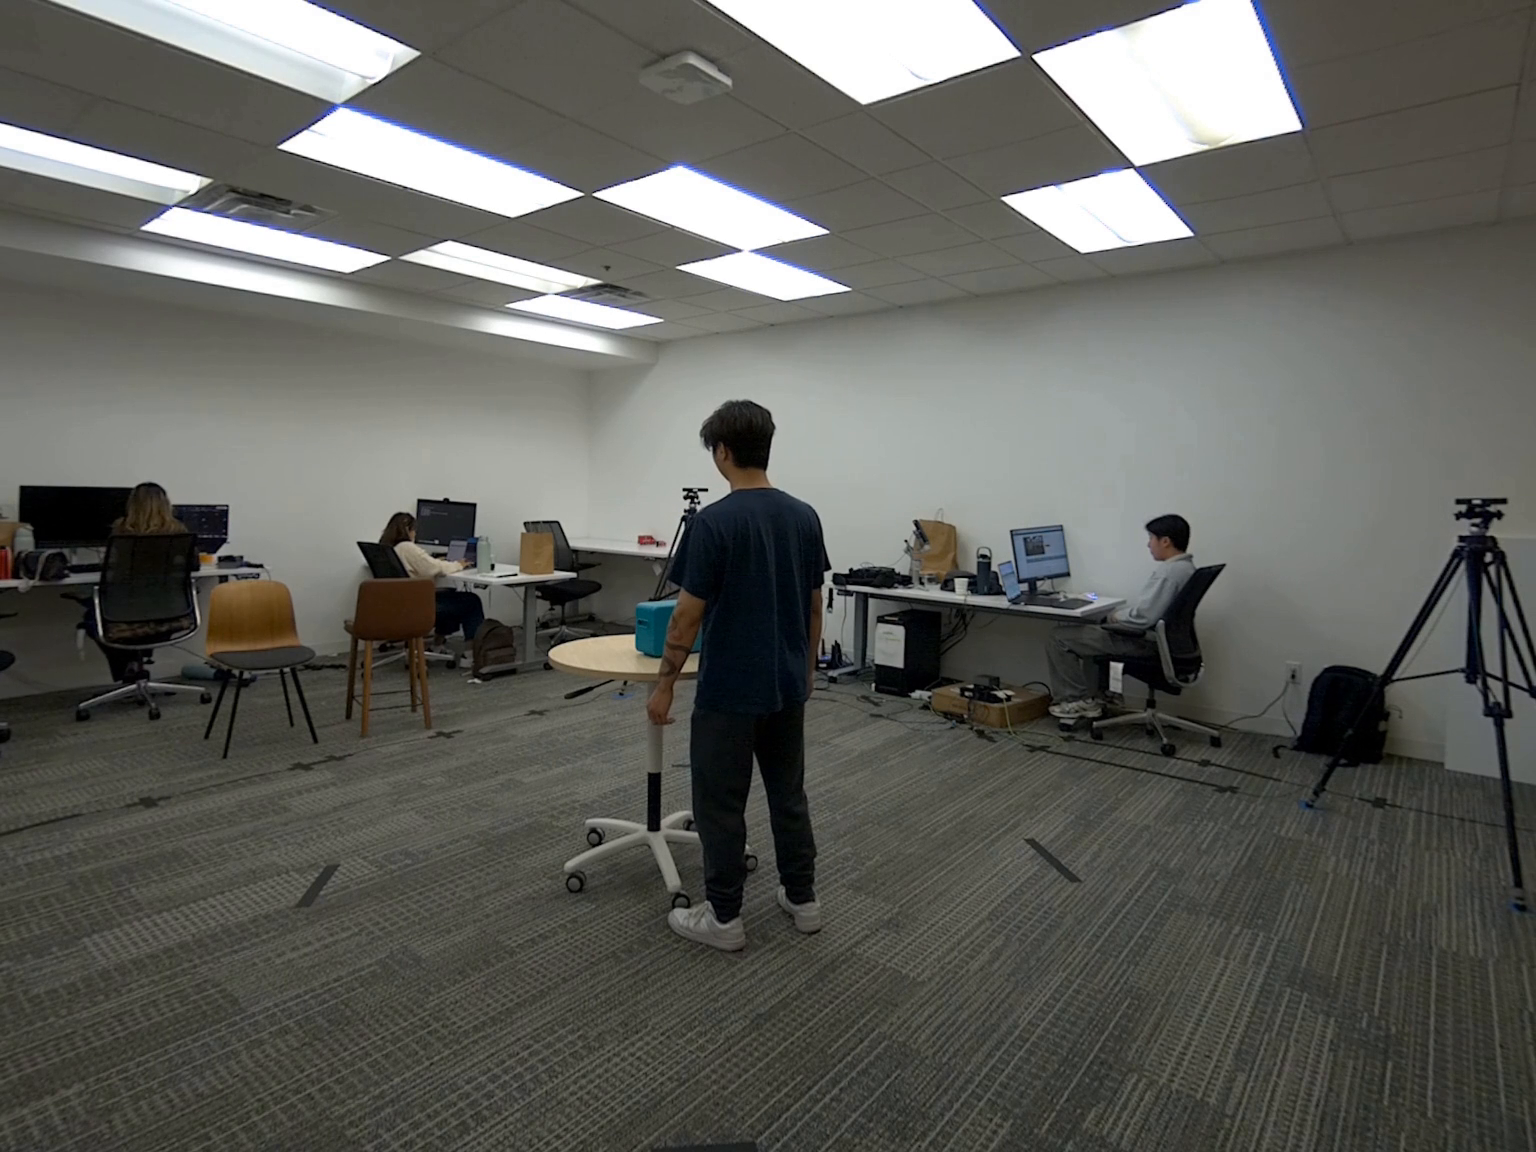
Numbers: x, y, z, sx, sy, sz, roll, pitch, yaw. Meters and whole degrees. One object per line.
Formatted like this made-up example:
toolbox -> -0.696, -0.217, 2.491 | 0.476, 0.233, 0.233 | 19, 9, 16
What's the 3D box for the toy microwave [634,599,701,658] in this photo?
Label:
toy microwave -> -0.344, 0.181, 3.073 | 0.278, 0.183, 0.157 | -3, 5, -40
